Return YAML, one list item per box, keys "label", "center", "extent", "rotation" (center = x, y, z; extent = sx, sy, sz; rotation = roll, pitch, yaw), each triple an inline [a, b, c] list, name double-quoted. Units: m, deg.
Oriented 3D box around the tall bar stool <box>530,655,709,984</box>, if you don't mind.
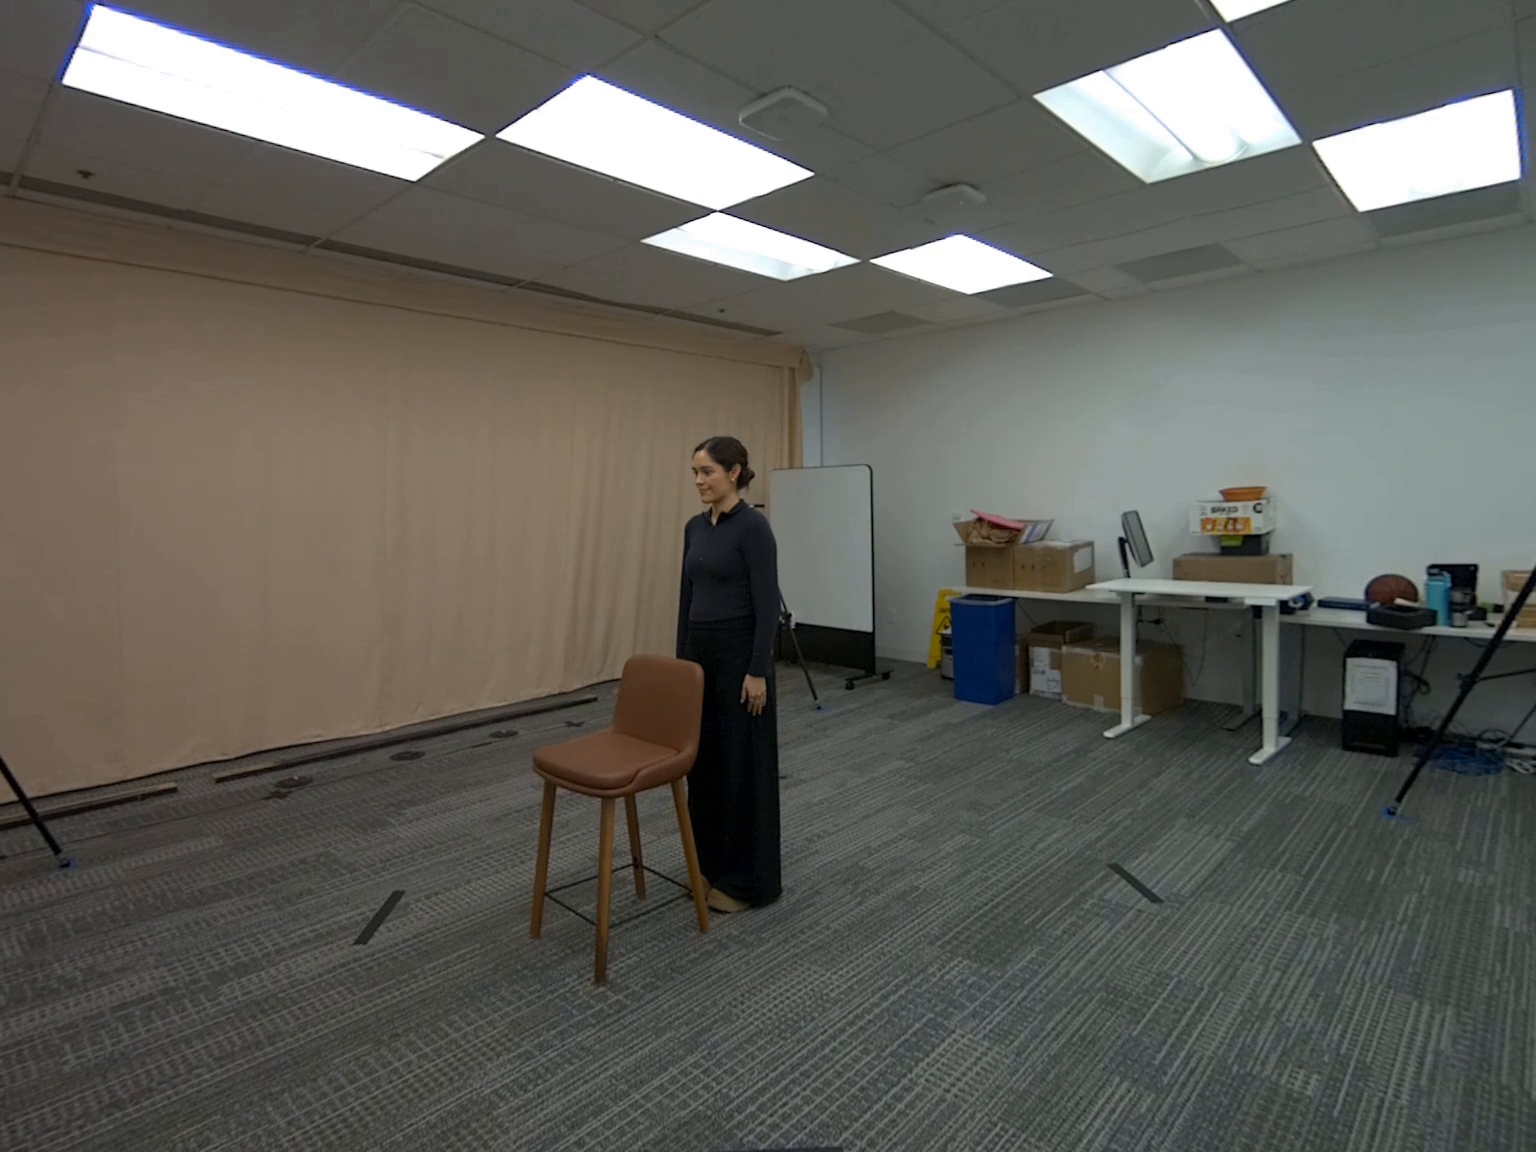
- label: "tall bar stool"
  center: [-0.476, 0.731, 2.728]
  extent: [0.453, 0.889, 0.472]
  rotation: [0, 2, -44]
